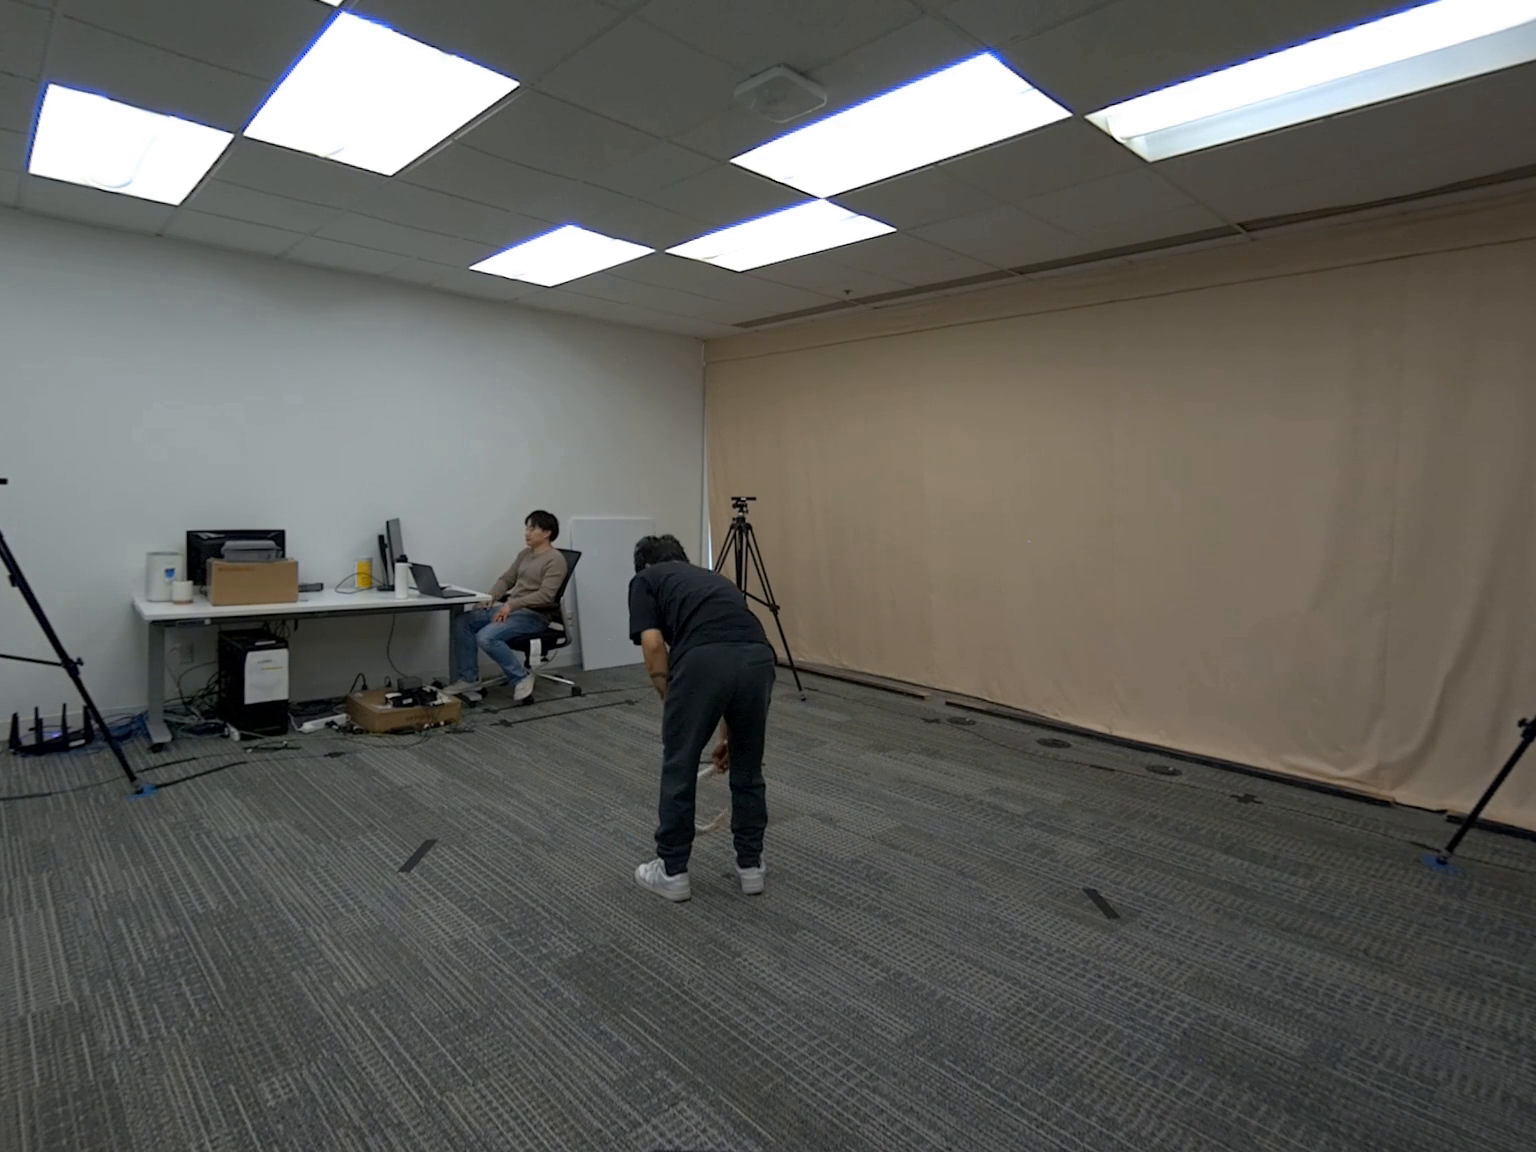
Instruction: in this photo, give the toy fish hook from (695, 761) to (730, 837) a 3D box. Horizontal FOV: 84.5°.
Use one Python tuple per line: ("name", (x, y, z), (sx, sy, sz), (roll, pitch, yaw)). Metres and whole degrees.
("toy fish hook", (-0.197, 0.796, 3.221), (0.225, 0.506, 0.048), (39, 12, 1))
